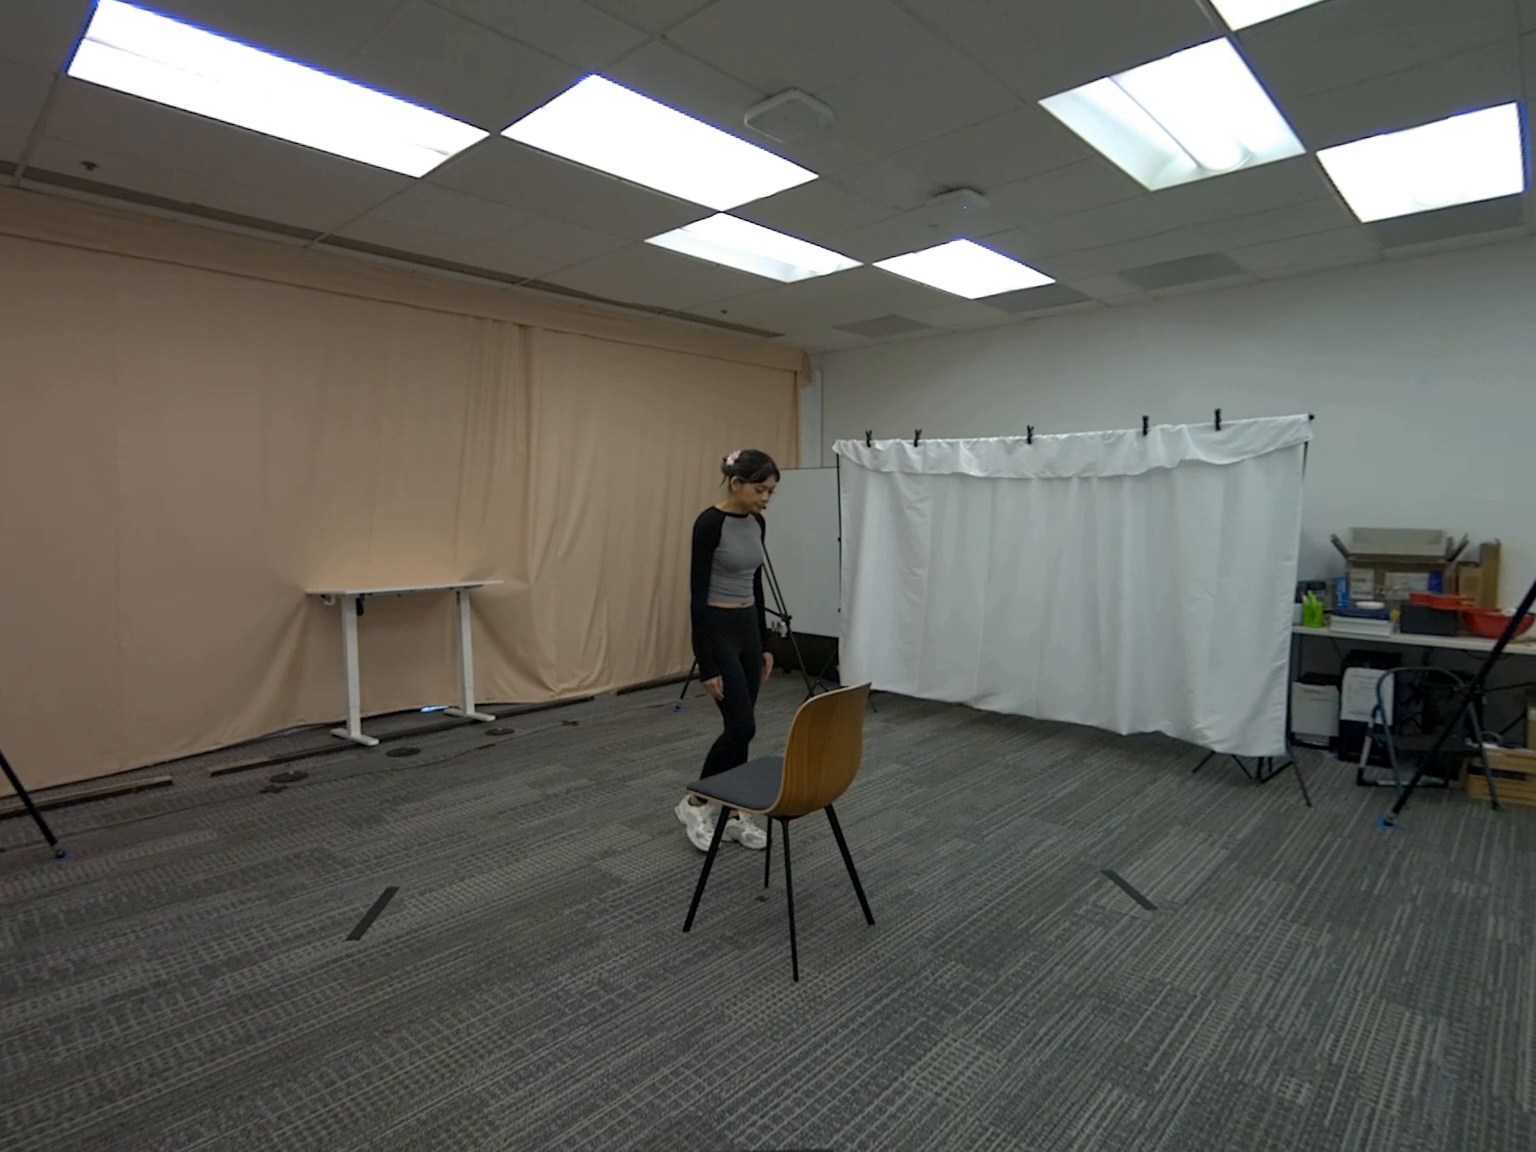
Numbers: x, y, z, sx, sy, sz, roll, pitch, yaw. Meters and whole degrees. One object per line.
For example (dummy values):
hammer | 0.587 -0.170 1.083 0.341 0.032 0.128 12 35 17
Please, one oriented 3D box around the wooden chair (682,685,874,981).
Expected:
wooden chair | 0.037 0.734 2.753 0.541 0.874 0.464 8 8 39
